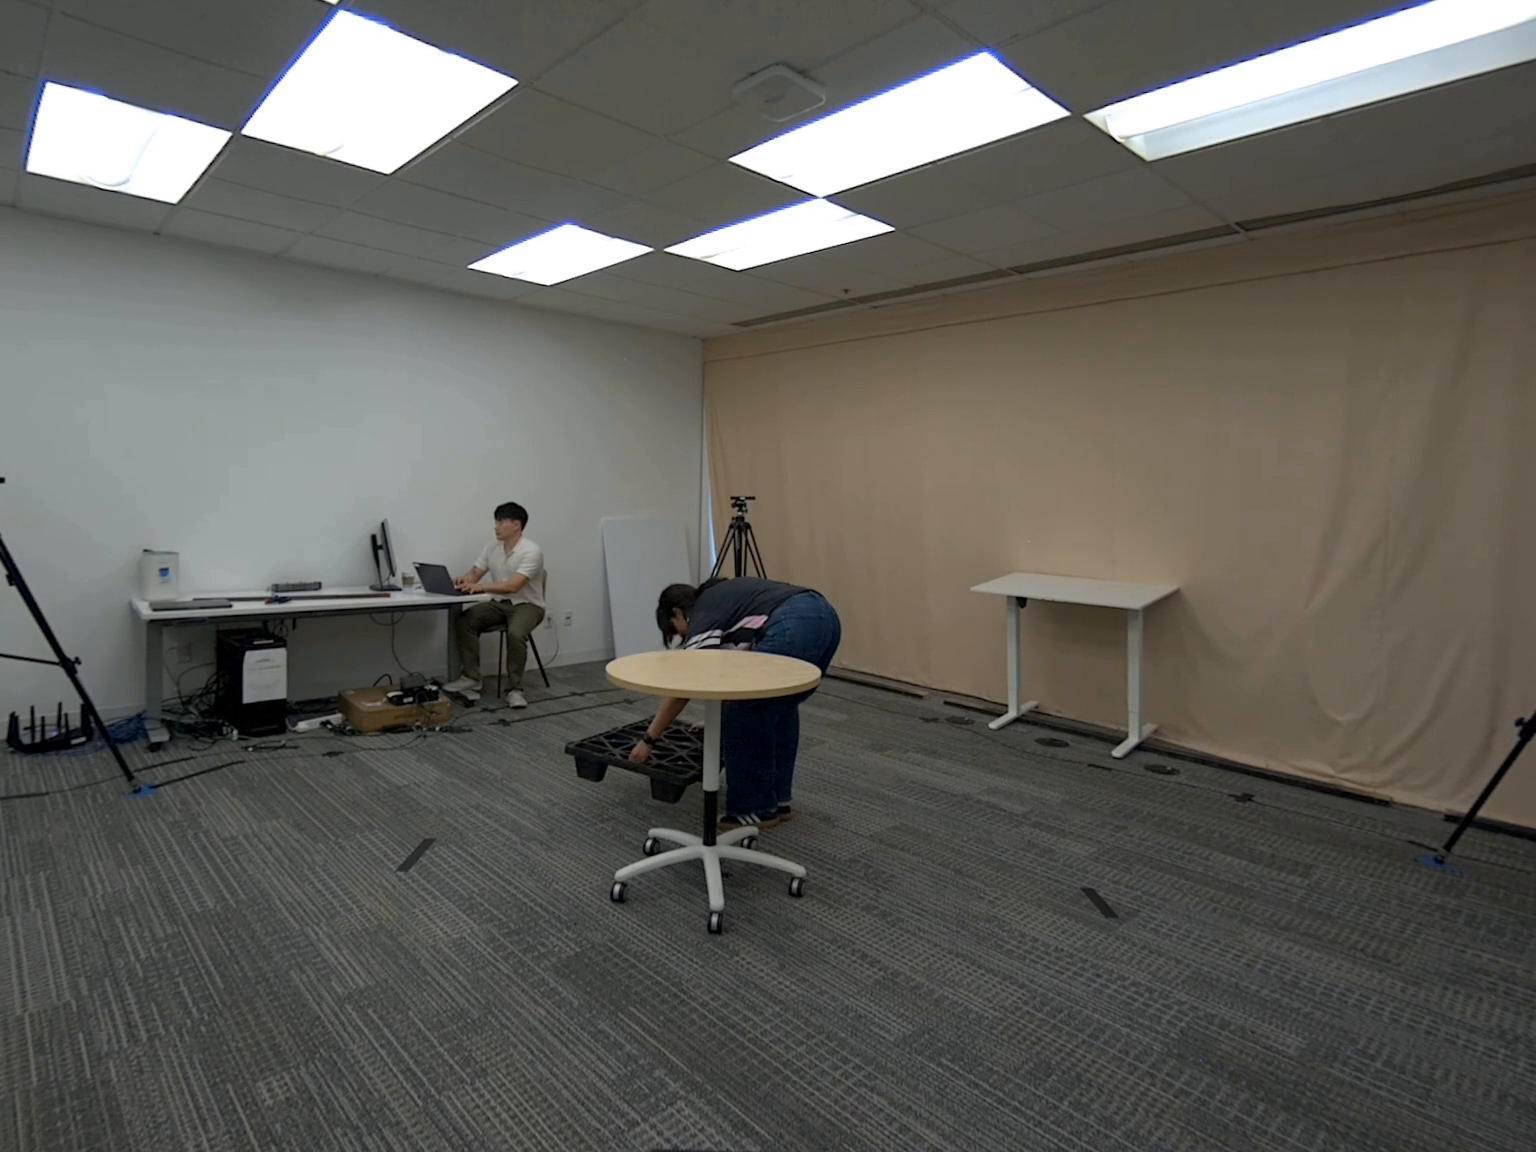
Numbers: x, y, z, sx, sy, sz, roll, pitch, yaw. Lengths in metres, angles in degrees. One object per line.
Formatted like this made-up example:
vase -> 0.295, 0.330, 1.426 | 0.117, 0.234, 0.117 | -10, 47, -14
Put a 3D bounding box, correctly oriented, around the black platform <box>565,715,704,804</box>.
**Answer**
black platform -> -0.457, 0.813, 3.805 | 0.617, 0.143, 0.791 | 9, 5, 23
